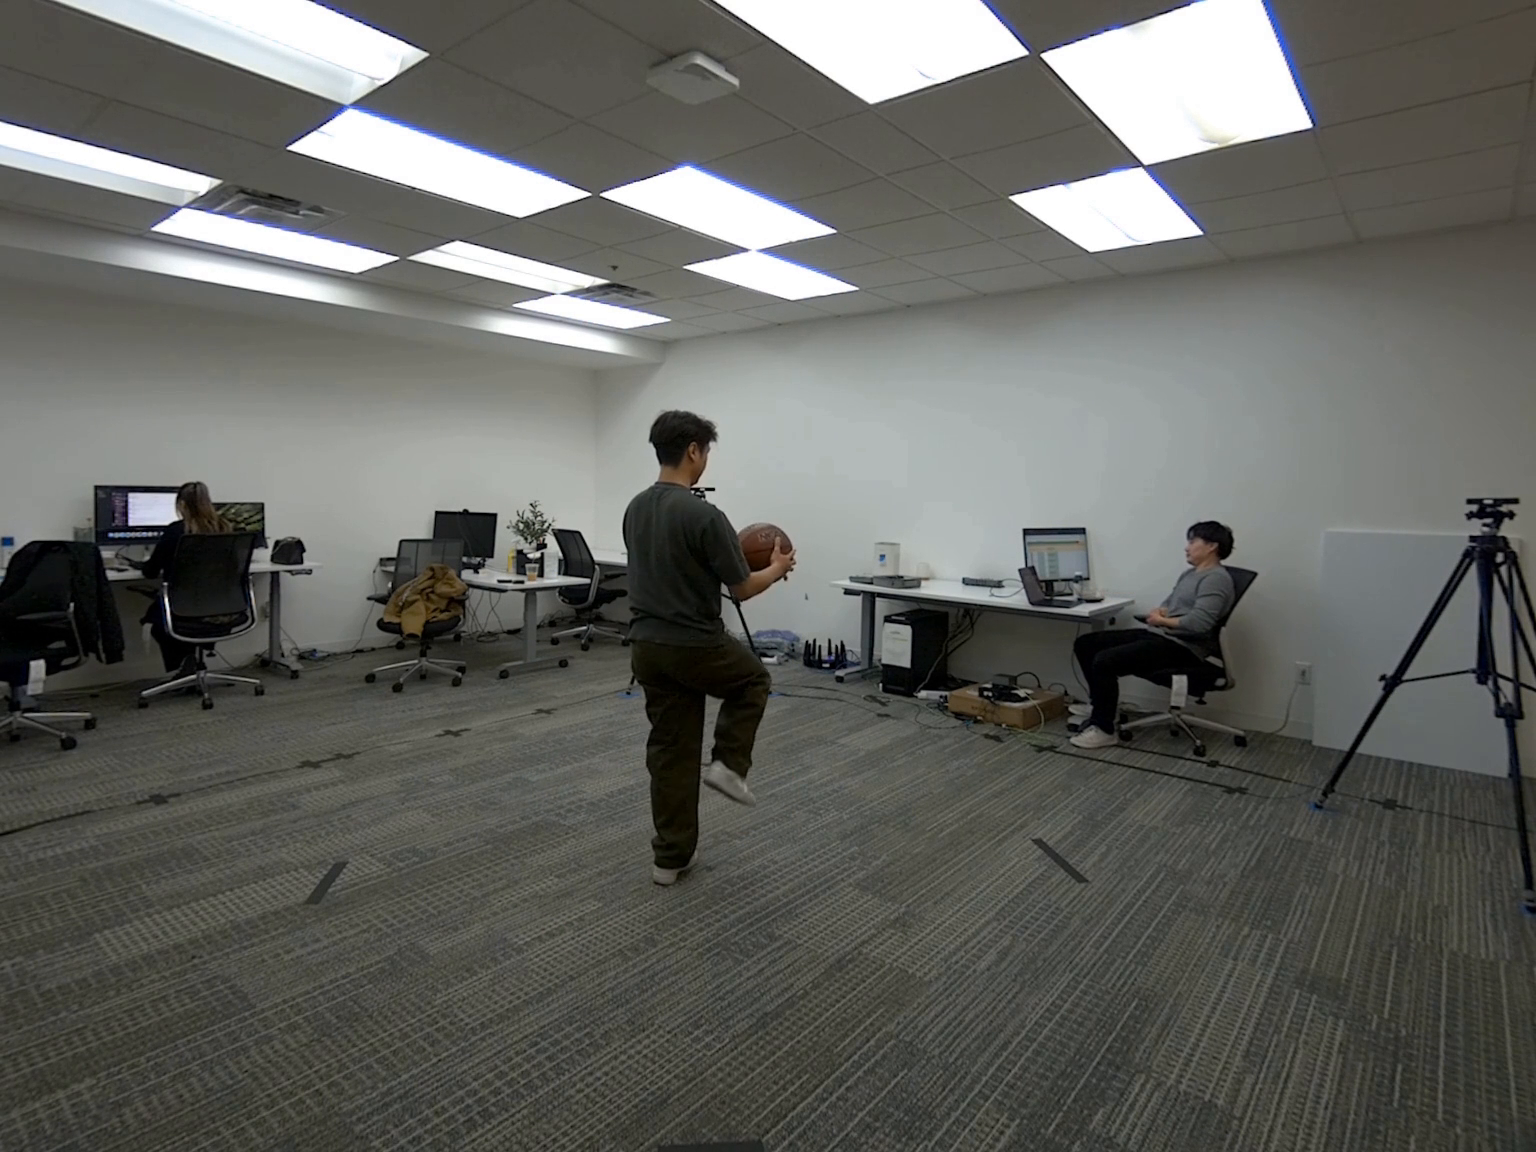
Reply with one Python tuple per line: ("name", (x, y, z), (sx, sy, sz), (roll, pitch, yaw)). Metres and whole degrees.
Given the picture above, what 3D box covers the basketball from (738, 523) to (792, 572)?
("basketball", (-0.028, -0.068, 3.238), (0.235, 0.235, 0.237), (1, 4, -2))
